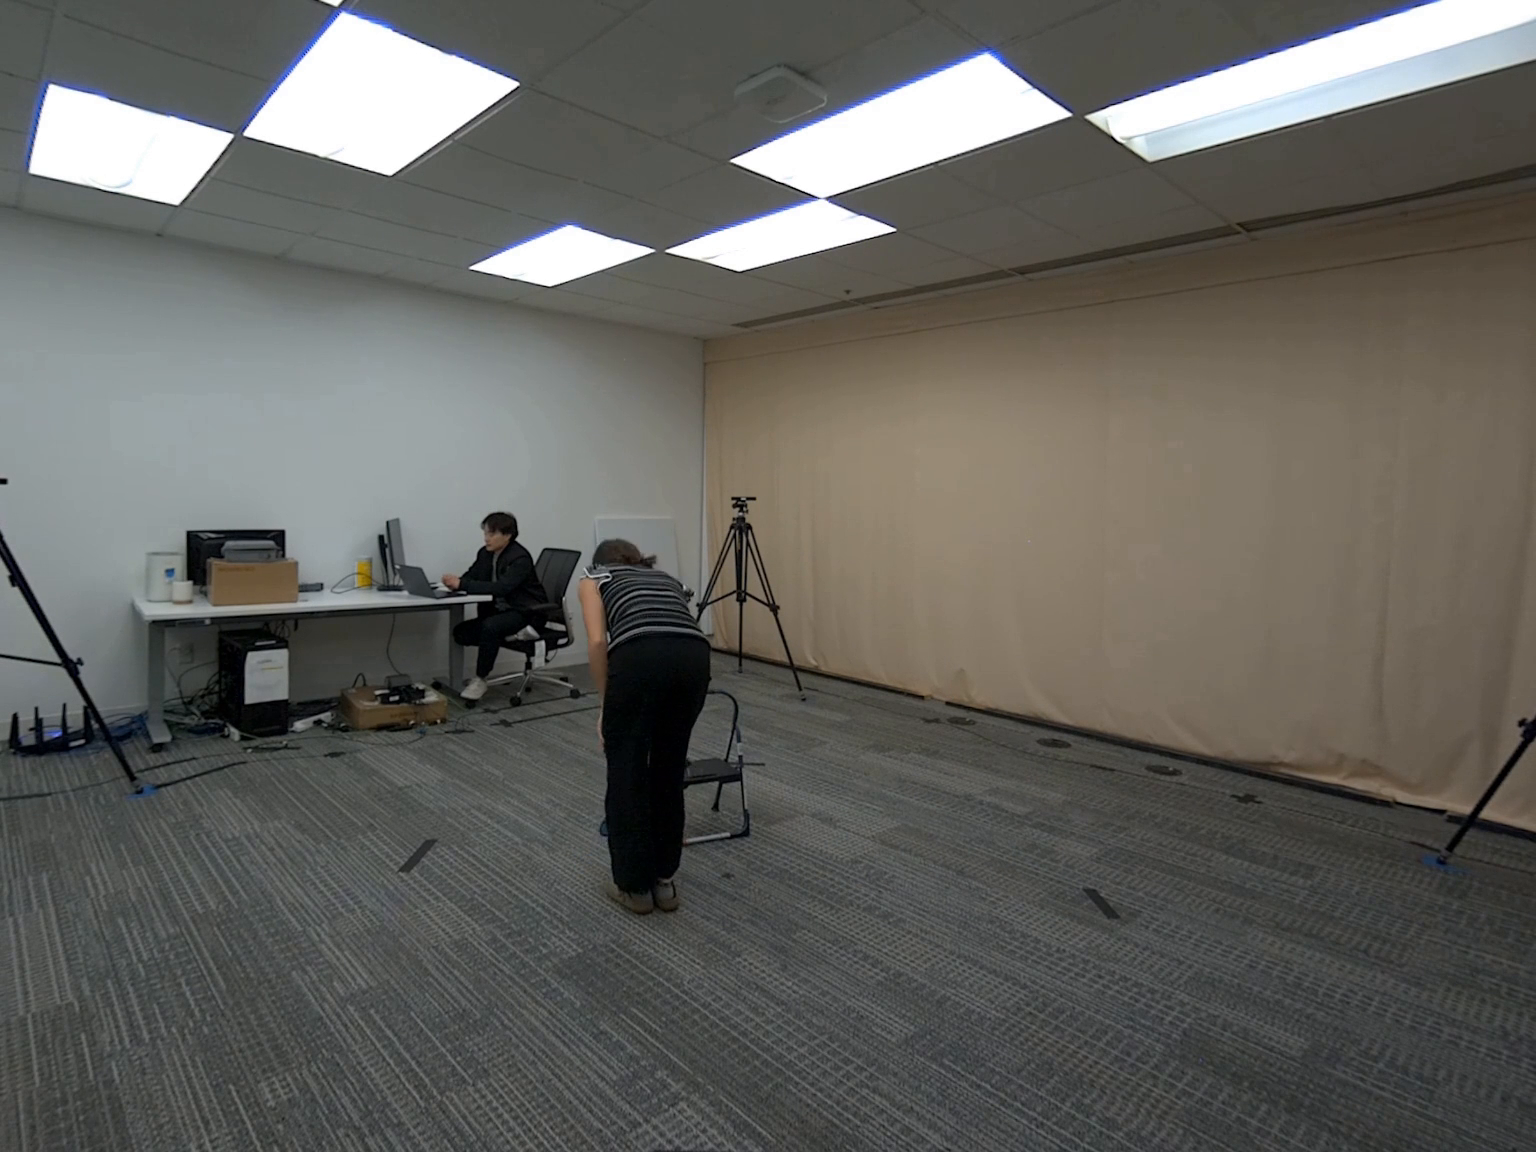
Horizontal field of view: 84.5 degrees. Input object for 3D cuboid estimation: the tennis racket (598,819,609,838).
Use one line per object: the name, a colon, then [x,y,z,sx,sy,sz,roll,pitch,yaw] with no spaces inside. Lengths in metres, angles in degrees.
tennis racket: [-0.432,0.816,3.067,0.033,0.433,0.207,50,6,31]
